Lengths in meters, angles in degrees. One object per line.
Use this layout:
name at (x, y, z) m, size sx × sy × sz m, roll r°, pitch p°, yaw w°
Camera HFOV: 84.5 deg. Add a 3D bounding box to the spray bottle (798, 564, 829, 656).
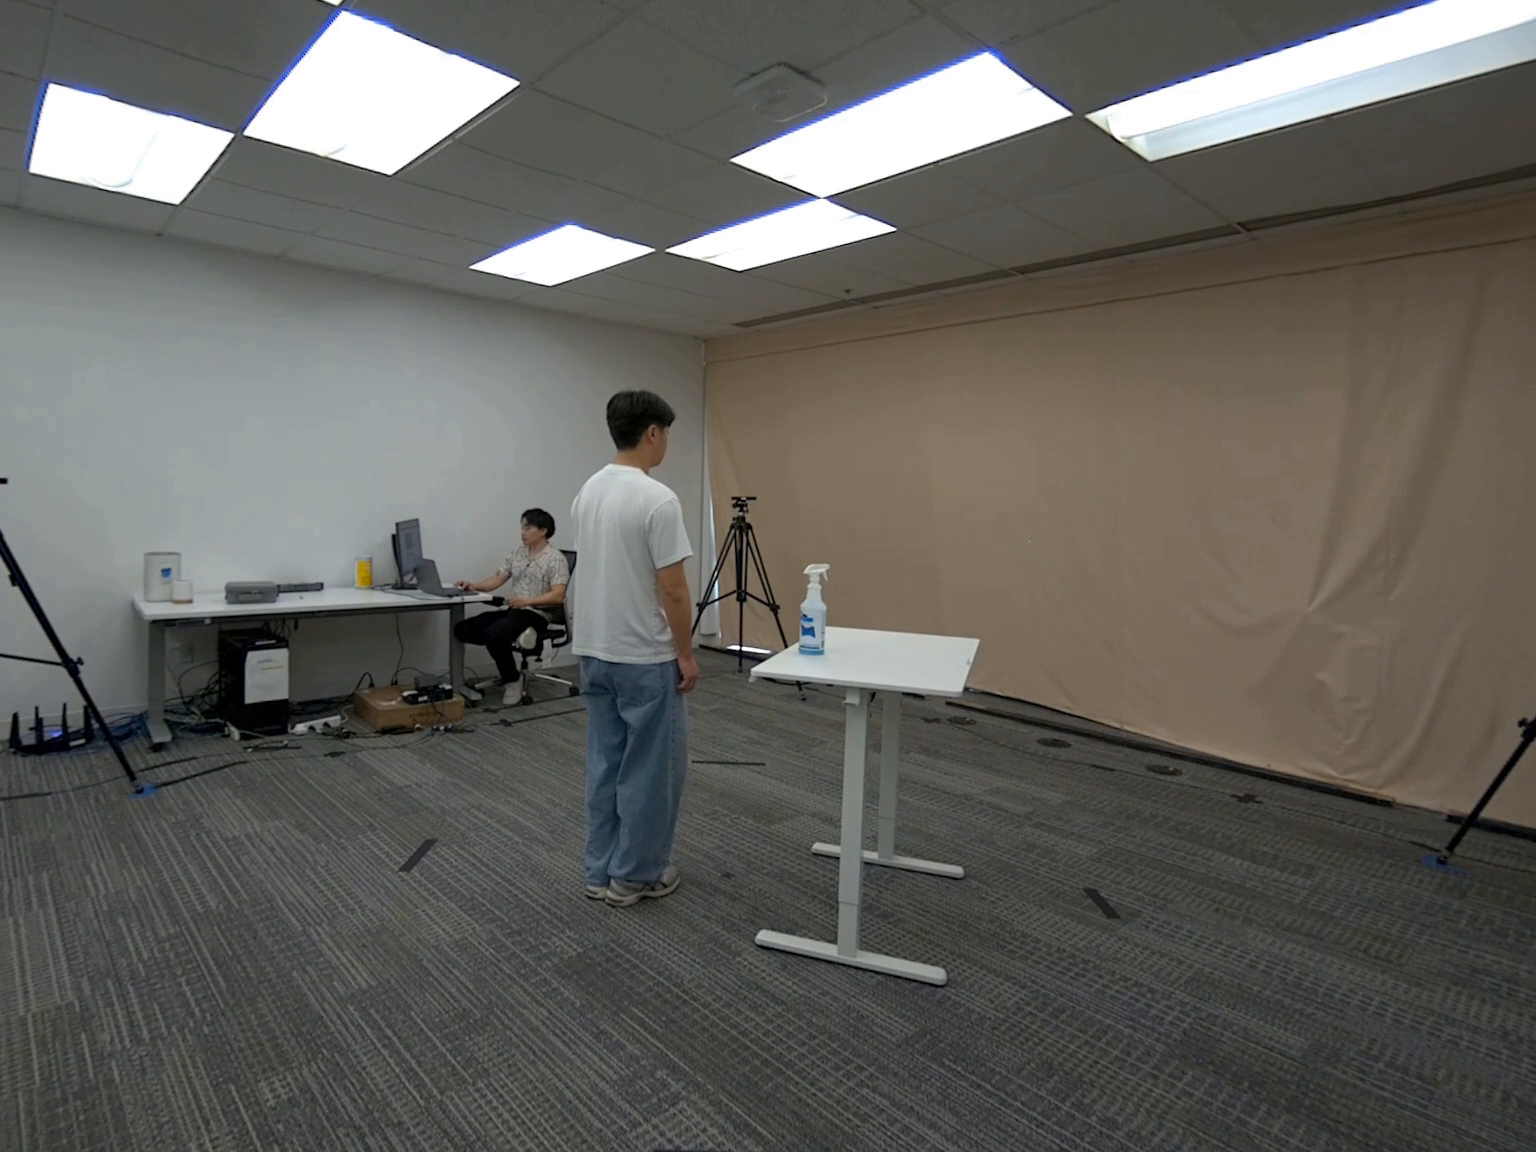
spray bottle at (0.143, 0.112, 2.783) m, size 0.090 × 0.297 × 0.087 m, roll 4°, pitch 3°, yaw 3°
